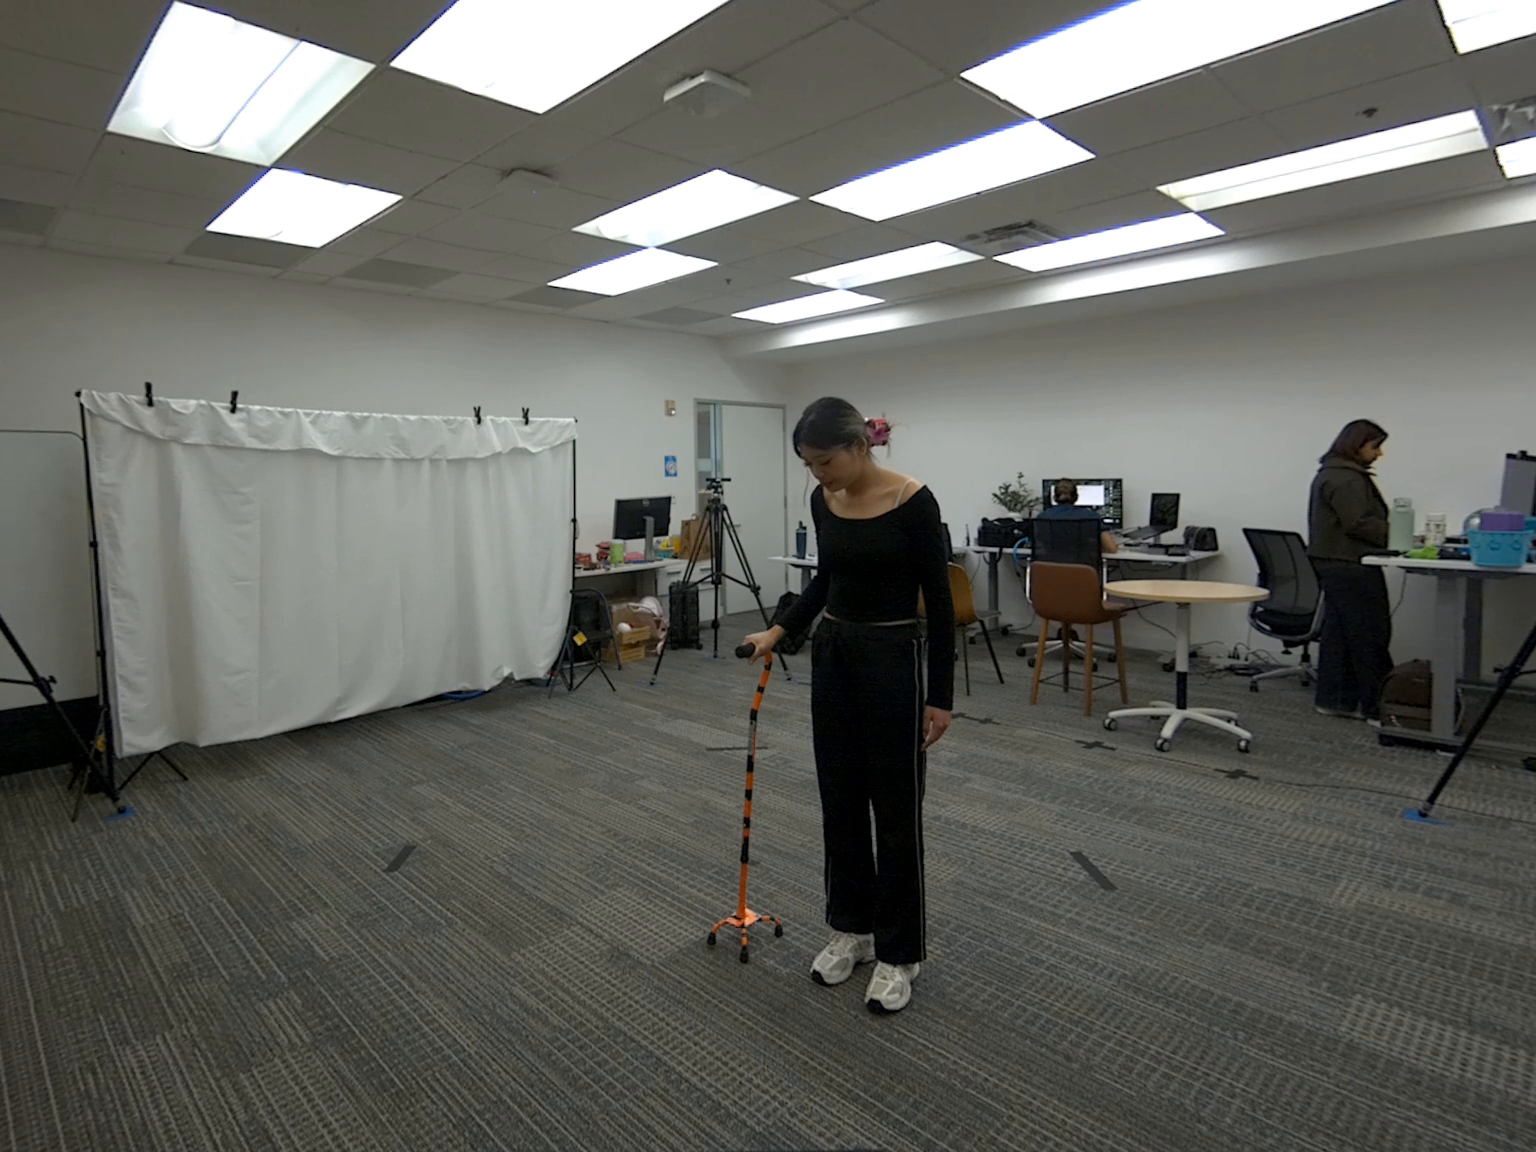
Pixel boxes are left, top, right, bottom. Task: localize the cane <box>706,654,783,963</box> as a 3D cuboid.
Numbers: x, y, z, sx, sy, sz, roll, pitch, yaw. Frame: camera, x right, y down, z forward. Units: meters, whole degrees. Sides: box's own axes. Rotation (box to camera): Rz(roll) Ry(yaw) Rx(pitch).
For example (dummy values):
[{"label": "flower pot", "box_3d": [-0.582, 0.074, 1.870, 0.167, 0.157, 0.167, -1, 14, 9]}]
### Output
[{"label": "cane", "box_3d": [-0.041, 0.652, 2.541, 0.156, 0.904, 0.201, 6, 5, 35]}]
